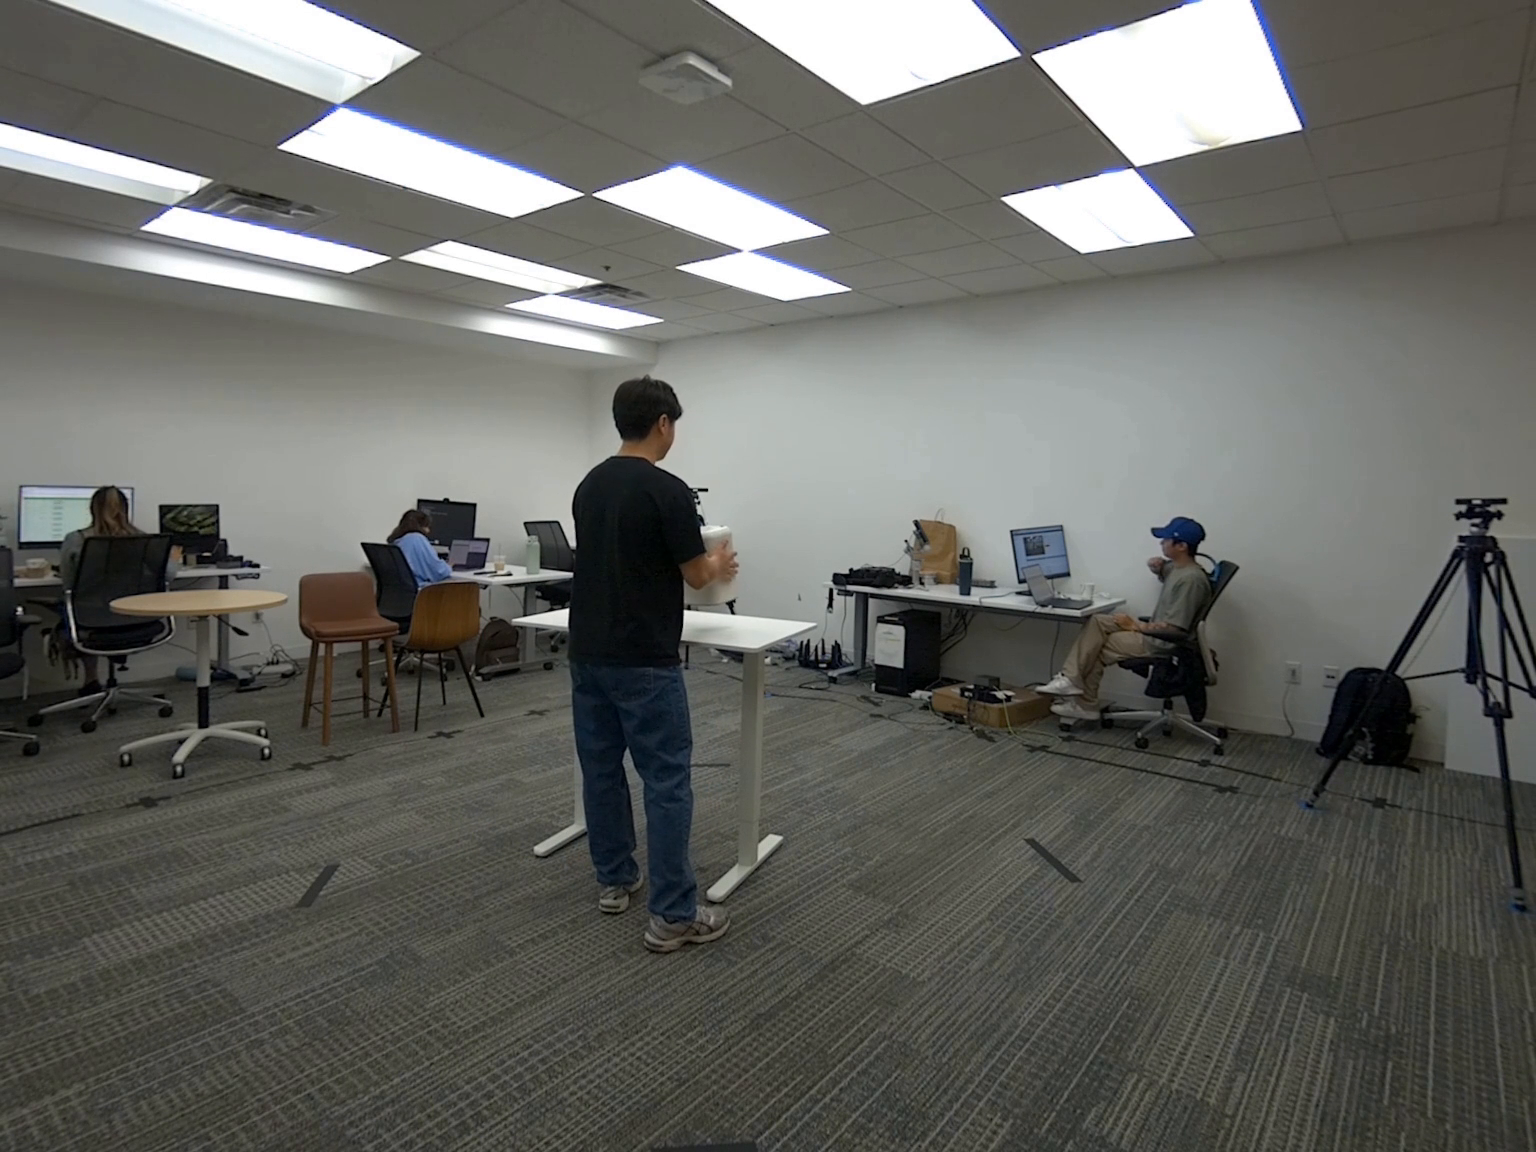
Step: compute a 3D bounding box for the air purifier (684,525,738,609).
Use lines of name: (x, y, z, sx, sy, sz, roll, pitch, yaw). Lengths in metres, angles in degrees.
air purifier: (-0.228, -0.039, 3.066, 0.176, 0.263, 0.168, 0, 10, 30)
